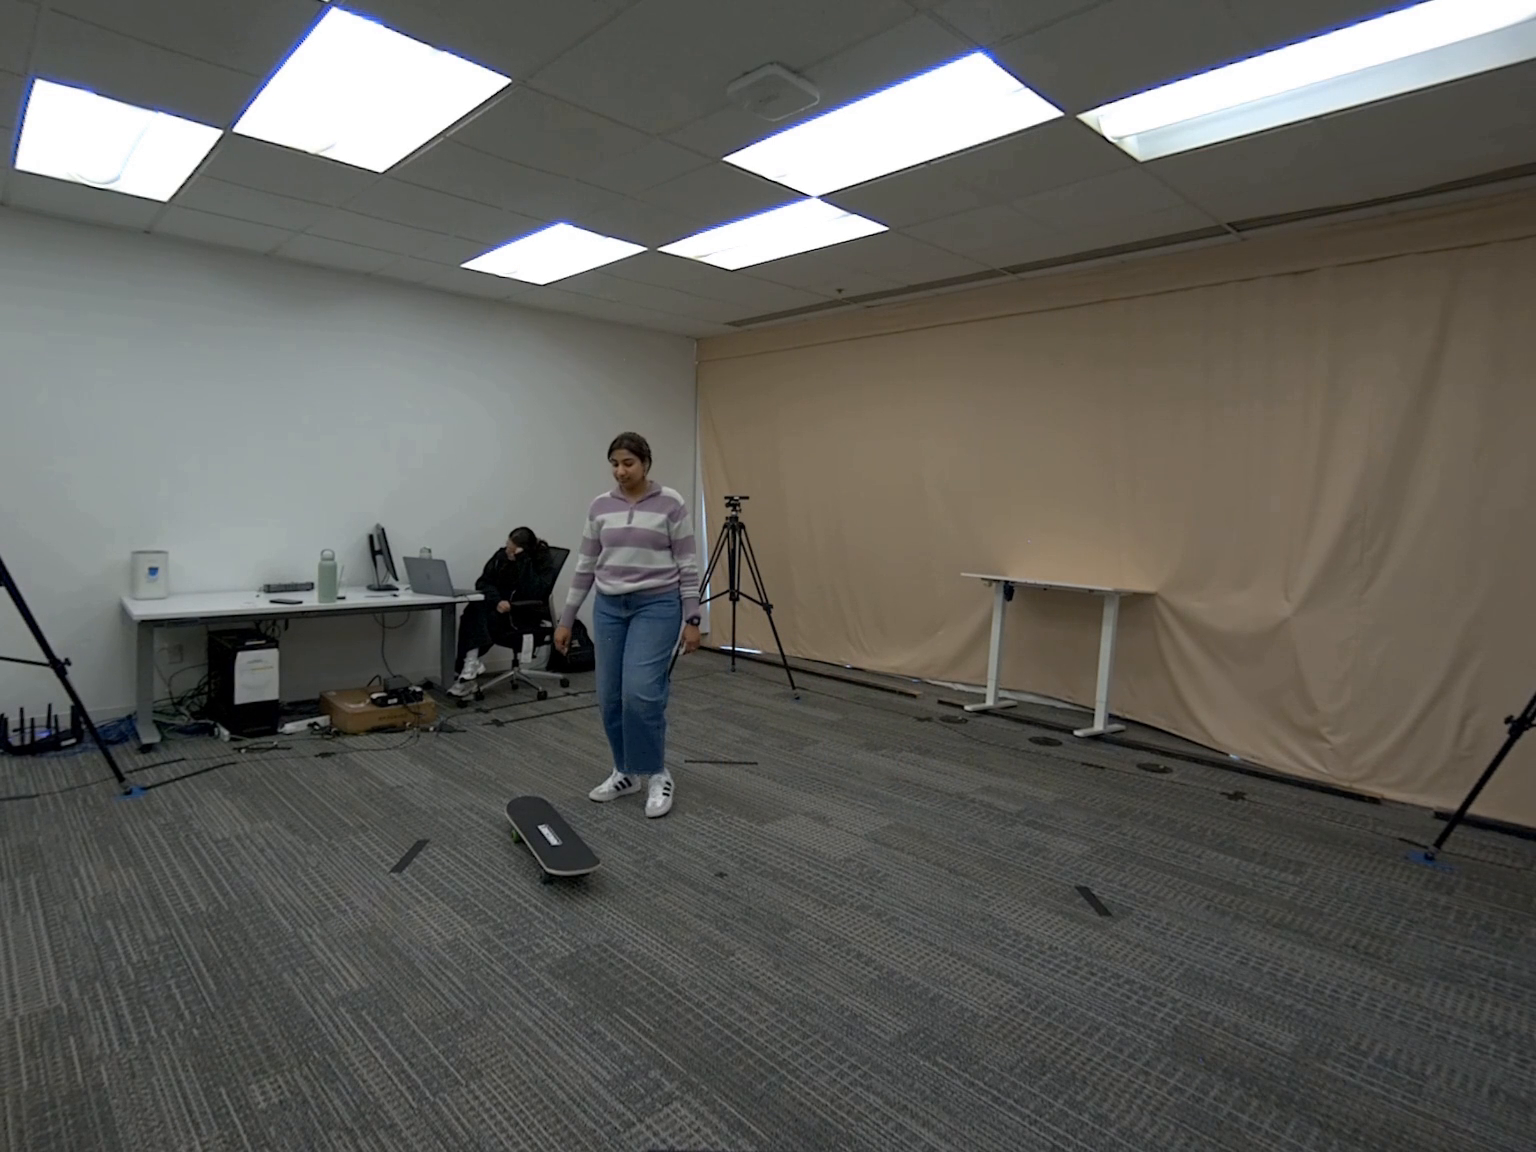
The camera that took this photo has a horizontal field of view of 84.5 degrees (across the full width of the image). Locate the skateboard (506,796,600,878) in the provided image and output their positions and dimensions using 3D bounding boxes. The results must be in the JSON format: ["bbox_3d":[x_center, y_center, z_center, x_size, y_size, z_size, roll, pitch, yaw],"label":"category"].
[{"bbox_3d":[-0.842,1.019,3.220,0.190,0.110,0.803,-2,6,-30],"label":"skateboard"}]
